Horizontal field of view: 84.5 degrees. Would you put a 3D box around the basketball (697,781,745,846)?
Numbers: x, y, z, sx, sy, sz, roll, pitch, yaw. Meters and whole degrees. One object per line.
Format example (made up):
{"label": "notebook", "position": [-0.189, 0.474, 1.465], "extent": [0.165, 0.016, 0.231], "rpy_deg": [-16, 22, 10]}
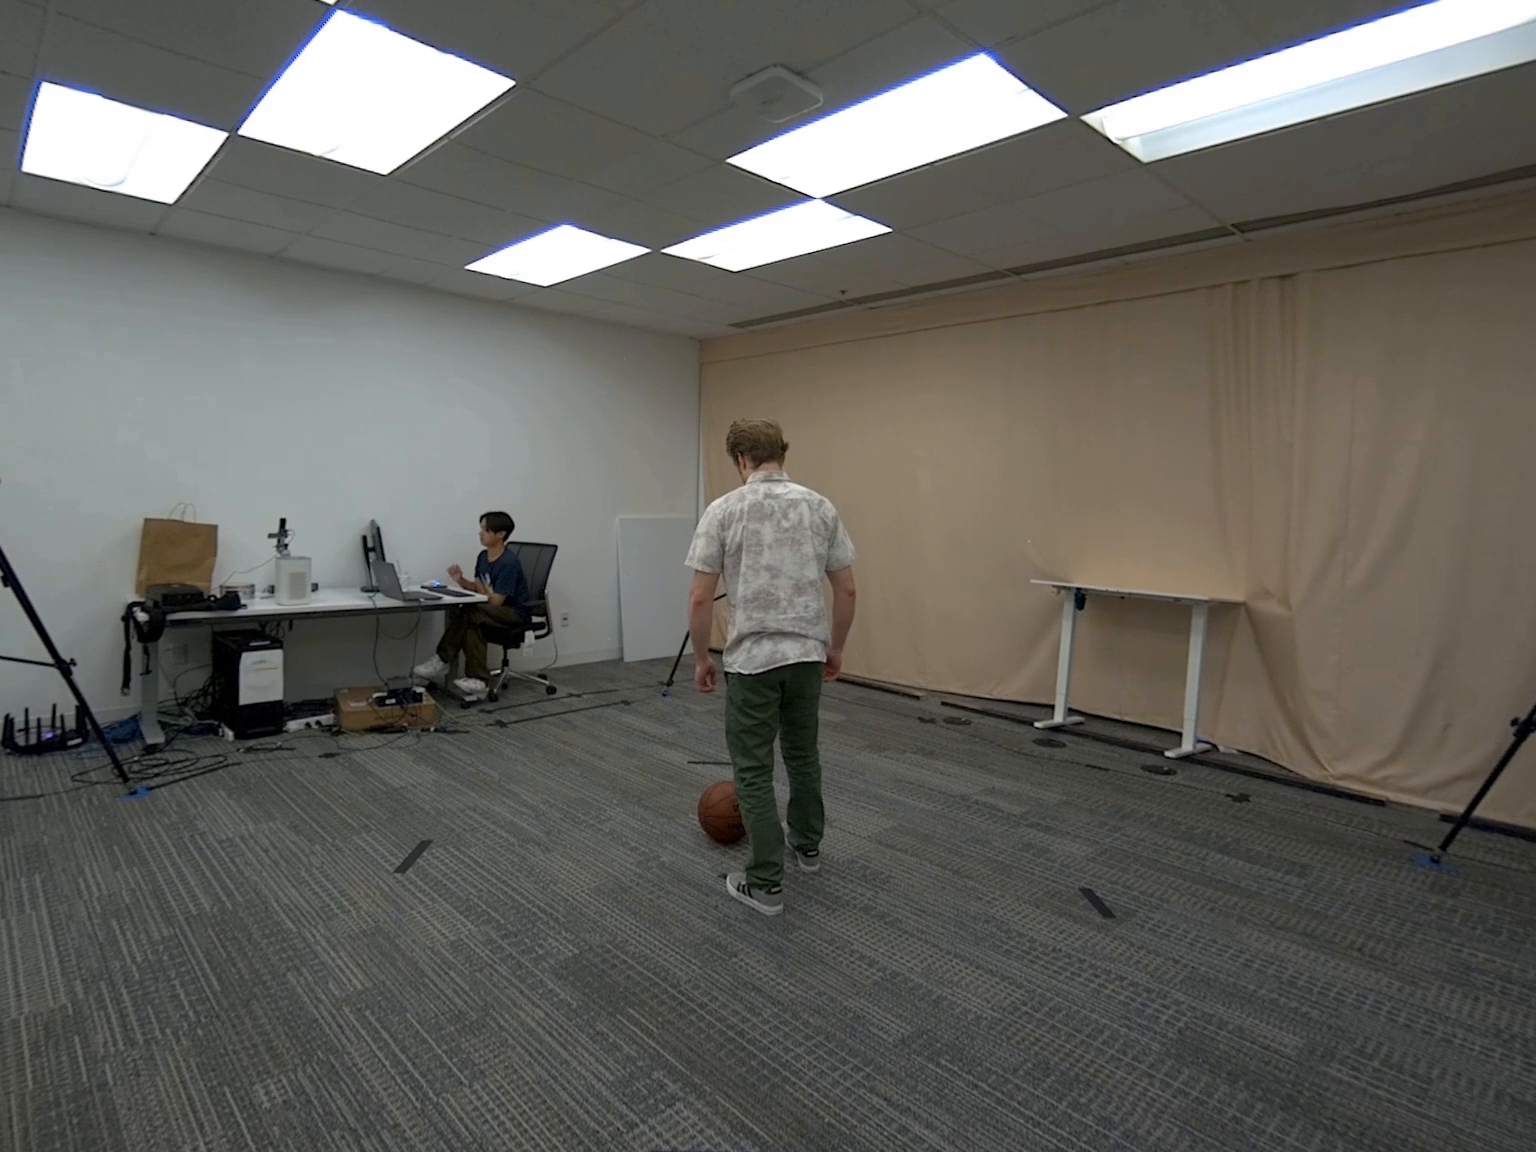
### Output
{"label": "basketball", "position": [-0.176, 0.955, 3.432], "extent": [0.236, 0.235, 0.237], "rpy_deg": [1, 4, -1]}
